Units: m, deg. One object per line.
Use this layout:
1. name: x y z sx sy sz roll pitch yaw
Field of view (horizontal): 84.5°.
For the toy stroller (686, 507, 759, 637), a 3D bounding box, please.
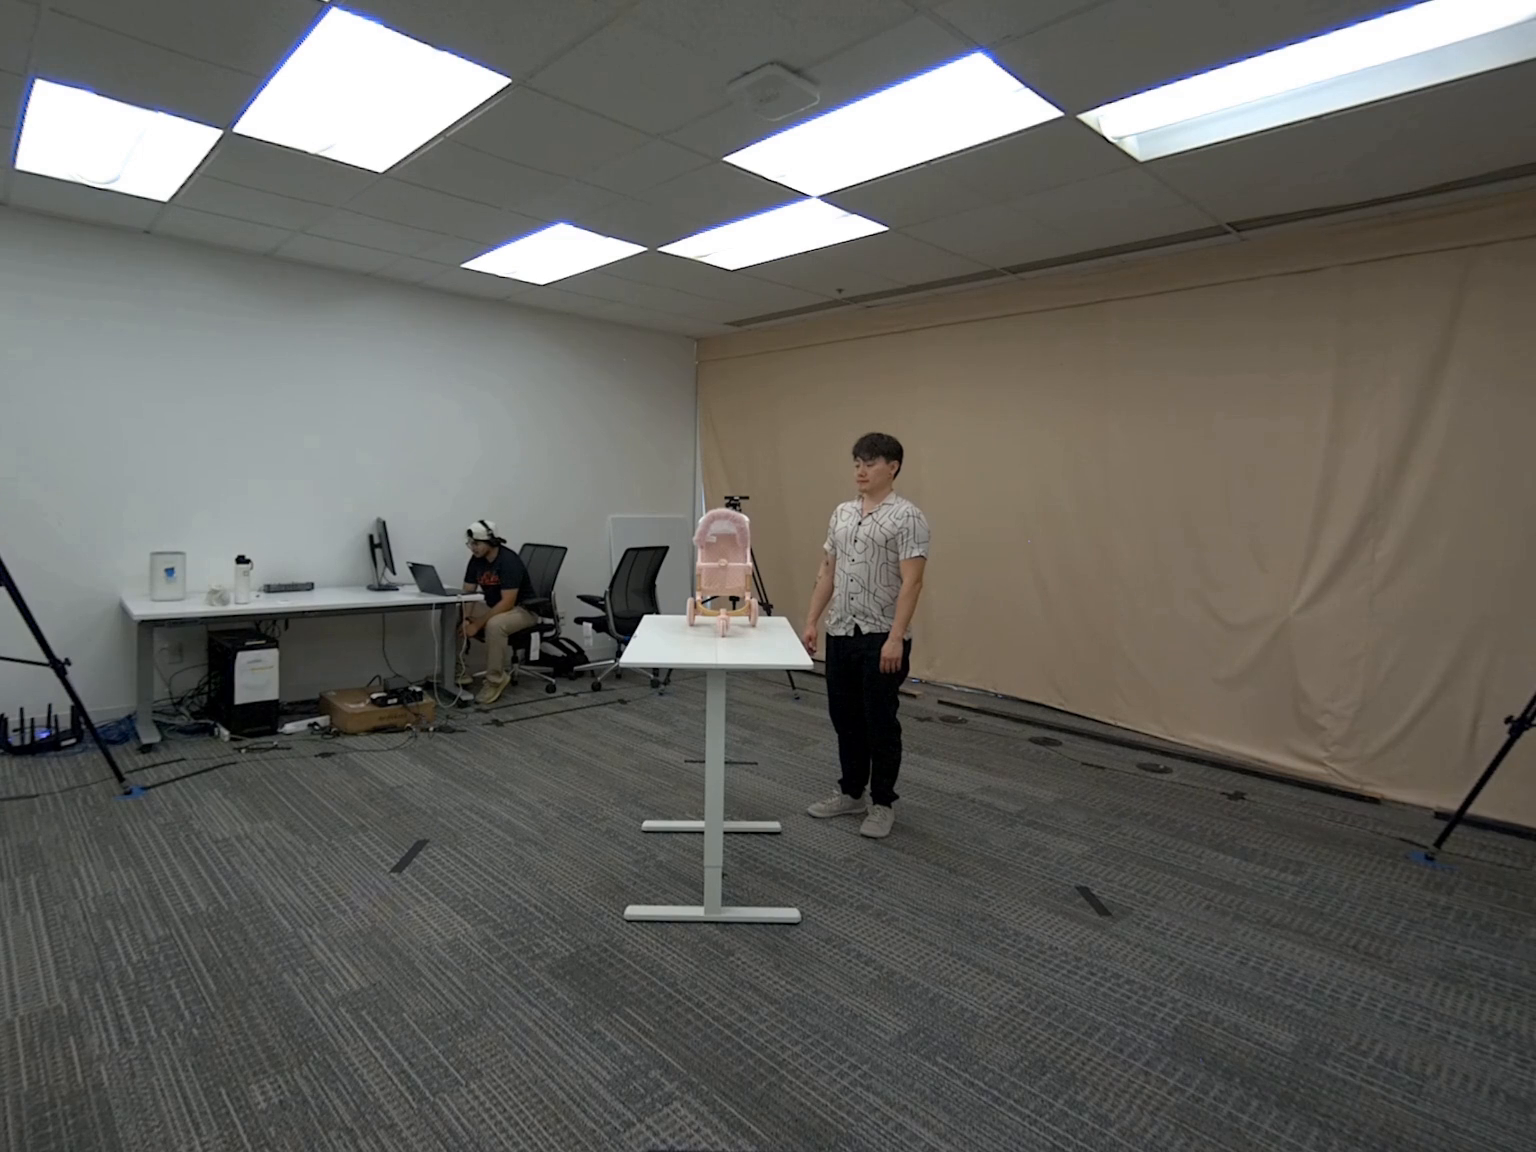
1. toy stroller: -0.180 -0.018 3.253 0.282 0.539 0.338 1 -11 2
